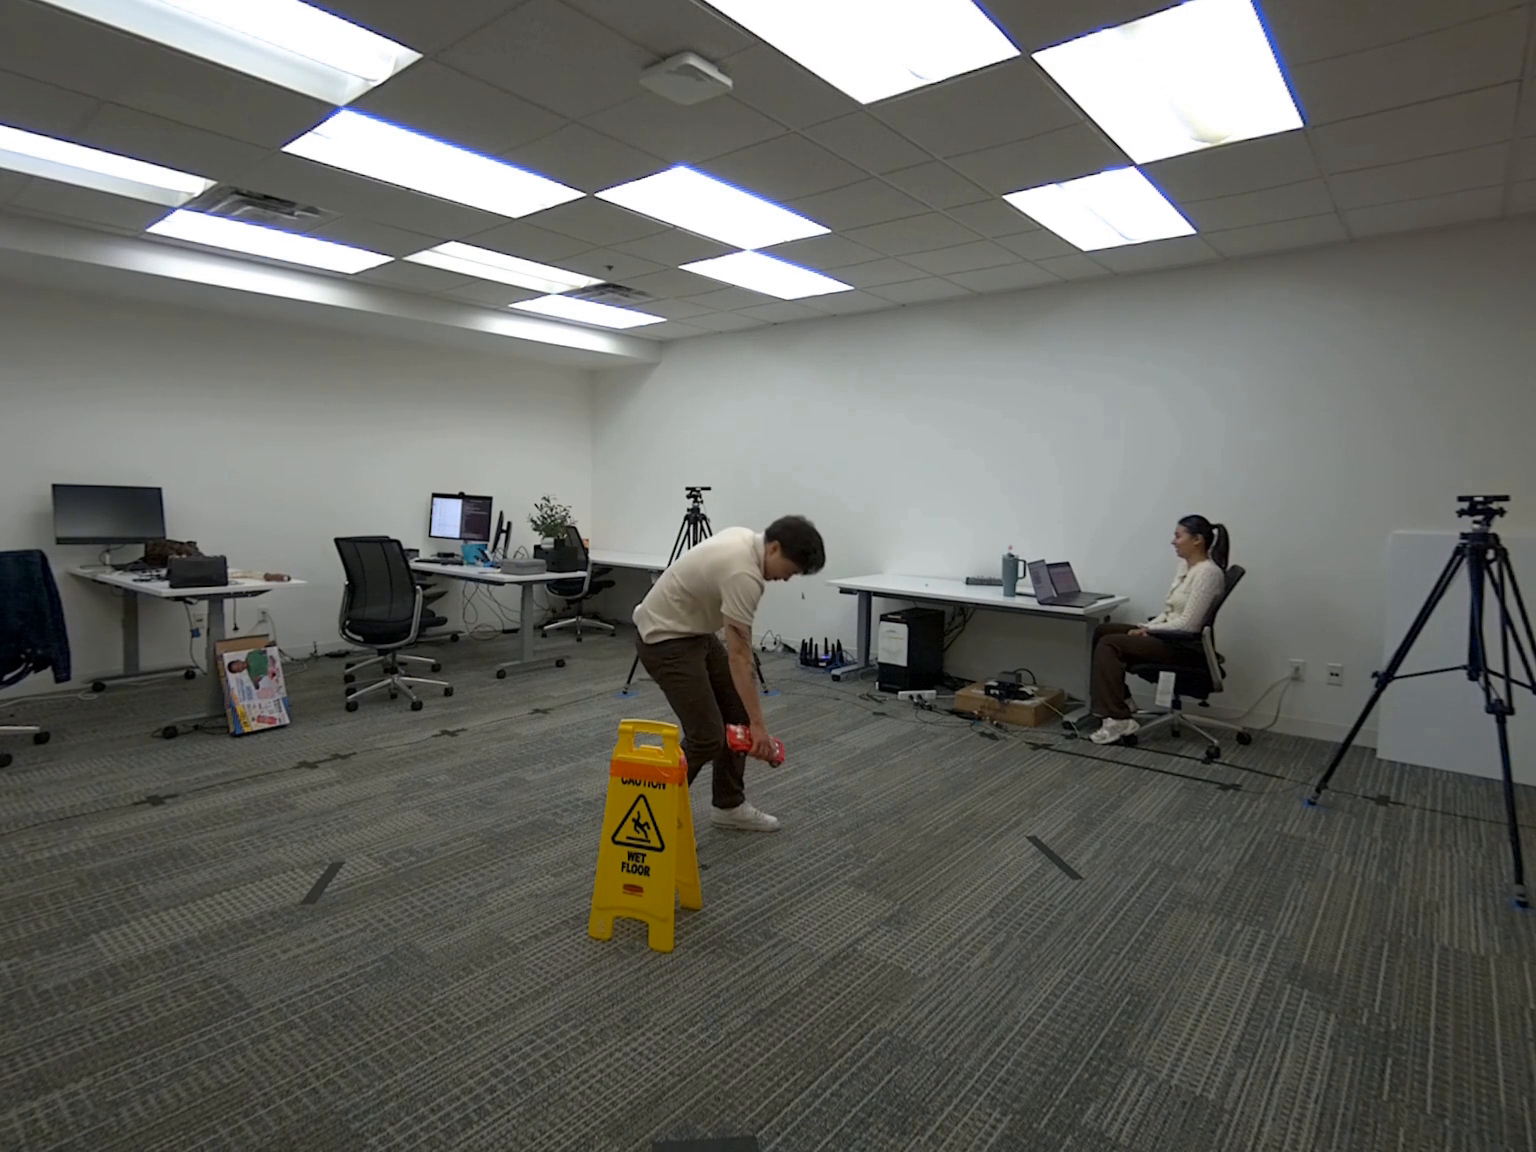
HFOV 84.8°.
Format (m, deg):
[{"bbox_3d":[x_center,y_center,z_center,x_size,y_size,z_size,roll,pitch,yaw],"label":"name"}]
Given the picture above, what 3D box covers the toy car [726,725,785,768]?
[{"bbox_3d":[-0.067,0.629,3.166,0.247,0.083,0.134,26,33,-25],"label":"toy car"}]
